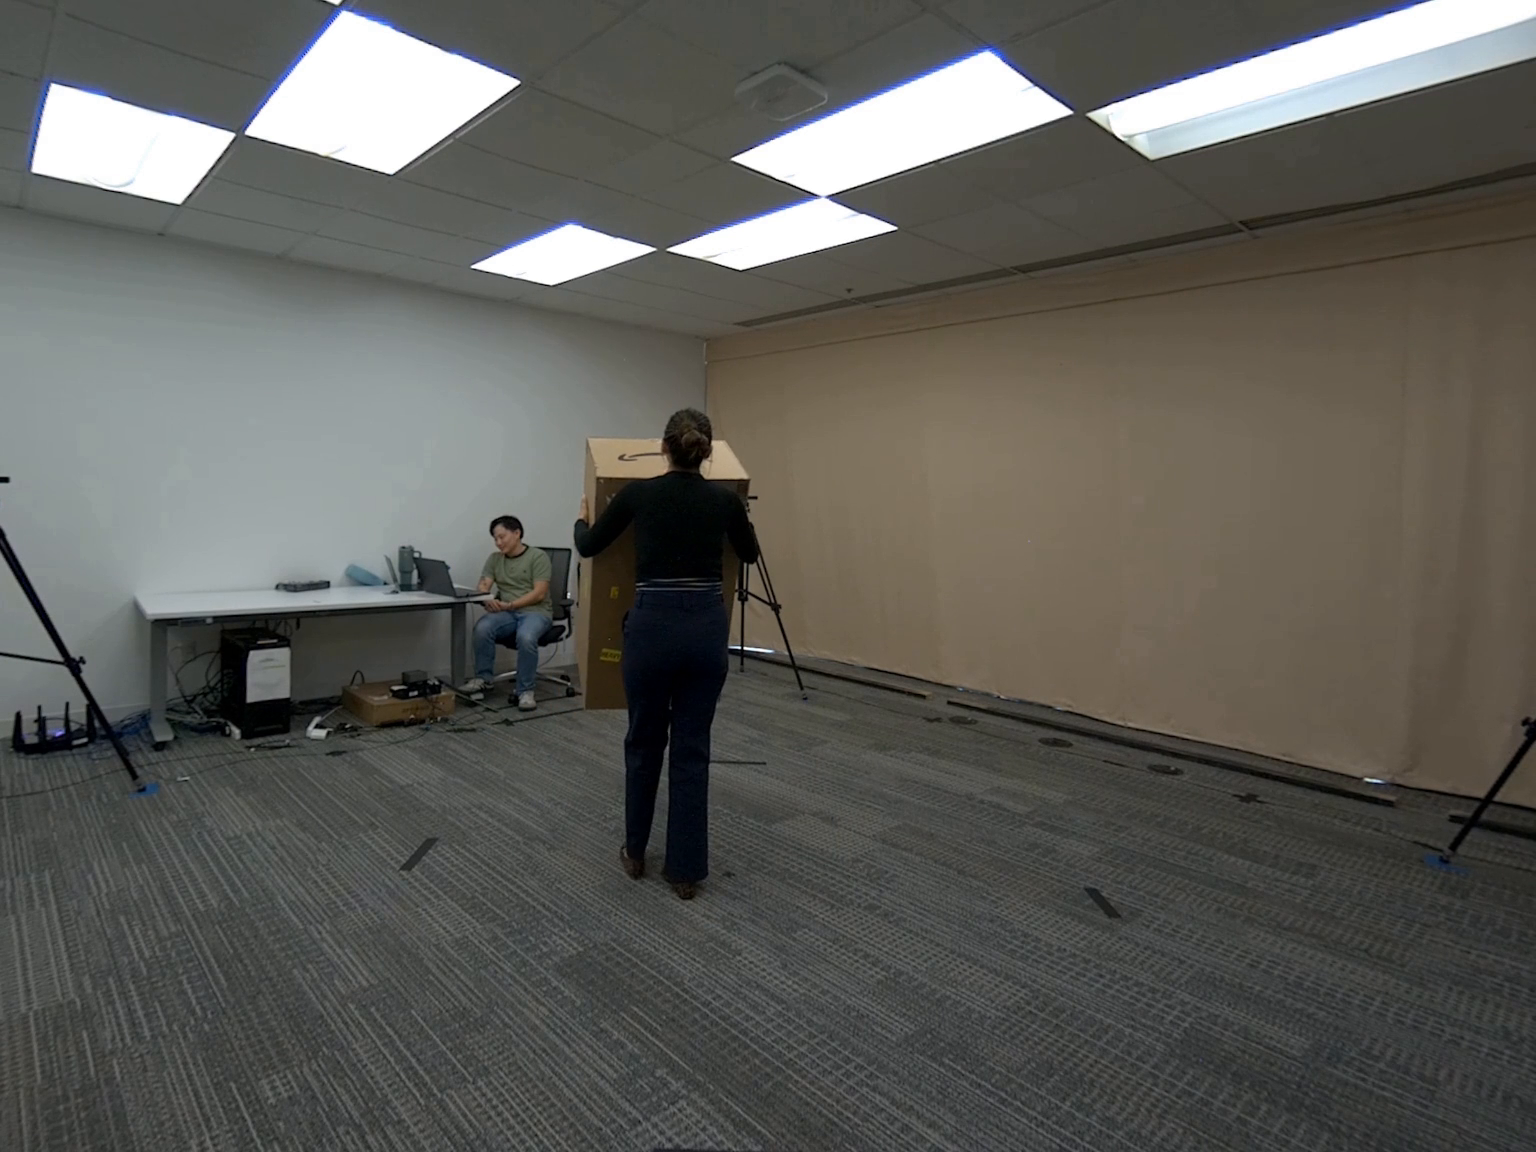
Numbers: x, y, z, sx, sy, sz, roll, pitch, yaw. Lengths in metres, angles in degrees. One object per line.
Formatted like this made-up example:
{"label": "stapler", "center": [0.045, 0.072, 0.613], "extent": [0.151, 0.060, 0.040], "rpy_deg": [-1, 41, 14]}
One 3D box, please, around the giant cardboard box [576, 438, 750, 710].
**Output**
{"label": "giant cardboard box", "center": [-0.470, -0.005, 3.453], "extent": [0.570, 1.011, 0.438], "rpy_deg": [-1, 27, -17]}
